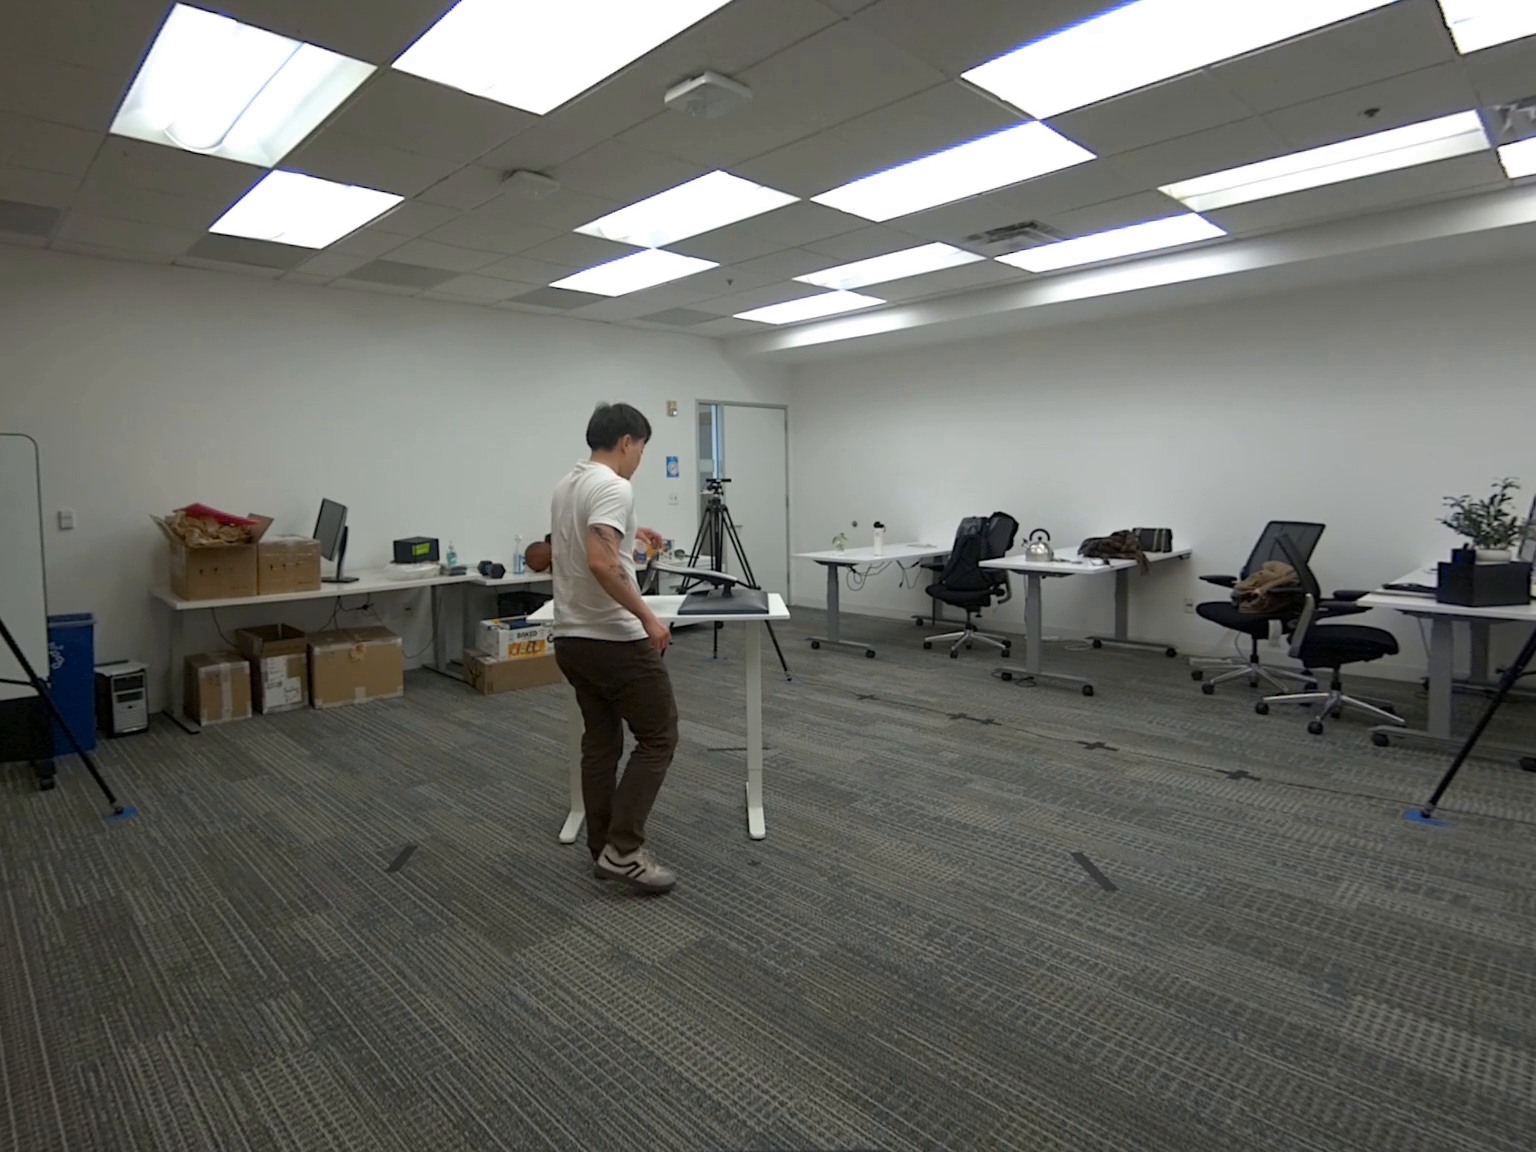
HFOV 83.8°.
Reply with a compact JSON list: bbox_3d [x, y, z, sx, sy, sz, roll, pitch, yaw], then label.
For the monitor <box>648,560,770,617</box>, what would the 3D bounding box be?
[{"bbox_3d":[-0.253,0.057,3.544,0.523,0.186,0.541,16,7,0],"label":"monitor"}]
